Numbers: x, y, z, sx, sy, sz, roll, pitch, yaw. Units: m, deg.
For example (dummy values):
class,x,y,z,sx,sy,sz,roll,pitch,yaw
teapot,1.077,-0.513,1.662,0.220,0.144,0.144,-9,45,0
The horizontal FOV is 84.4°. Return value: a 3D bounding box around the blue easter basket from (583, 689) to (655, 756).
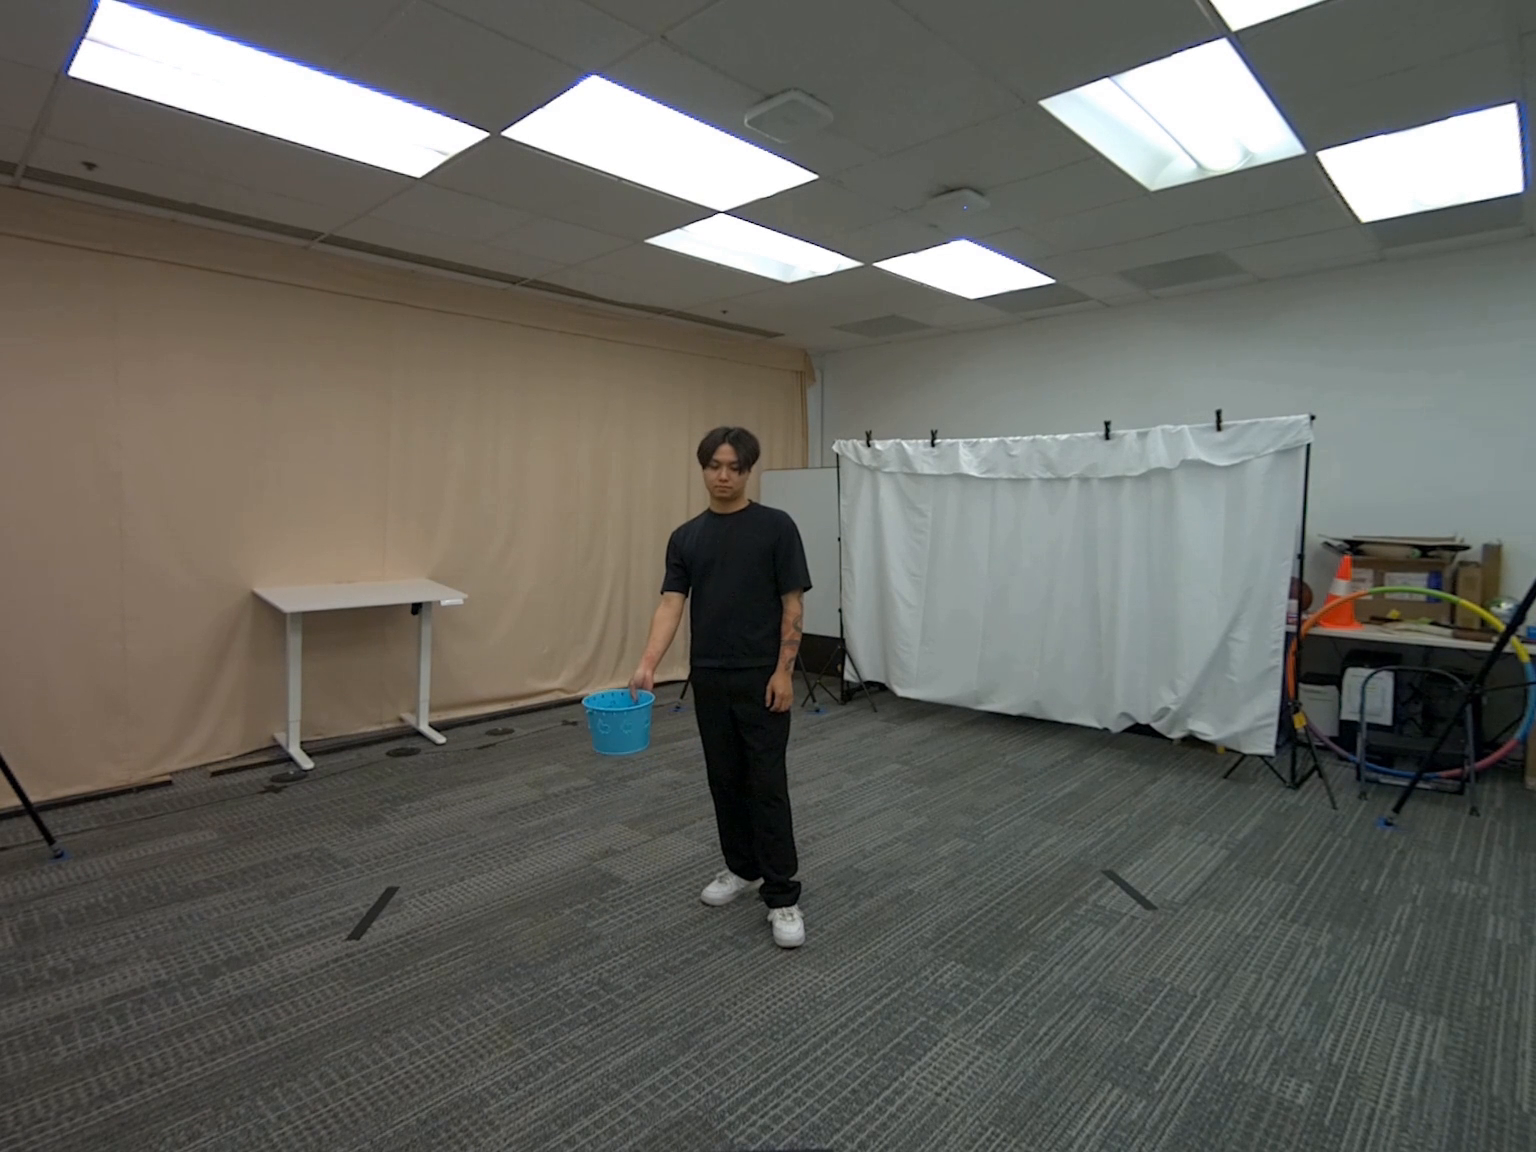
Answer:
class,x,y,z,sx,sy,sz,roll,pitch,yaw
blue easter basket,-0.480,0.477,2.714,0.243,0.155,0.245,-1,8,-2
